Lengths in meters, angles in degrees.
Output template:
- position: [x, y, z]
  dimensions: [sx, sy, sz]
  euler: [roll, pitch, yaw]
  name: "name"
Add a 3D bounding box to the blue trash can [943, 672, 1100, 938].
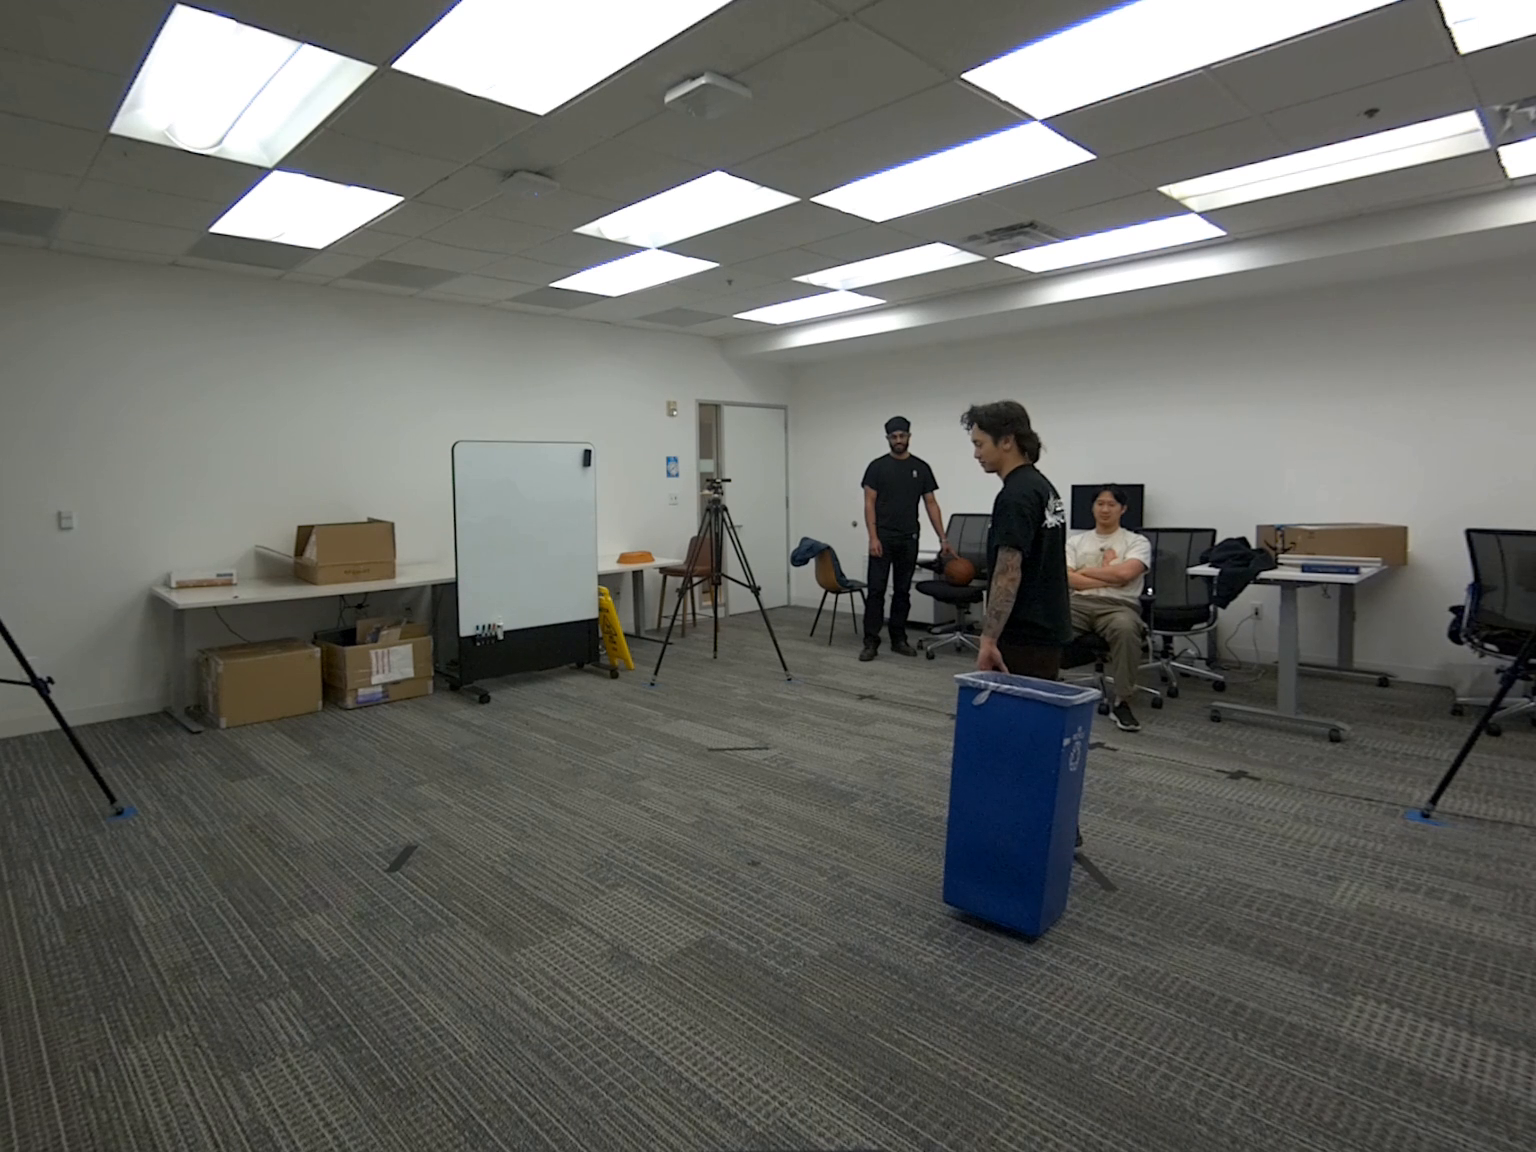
- position: [0.791, 0.701, 2.723]
  dimensions: [0.390, 0.713, 0.363]
  euler: [6, 1, 36]
  name: "blue trash can"
